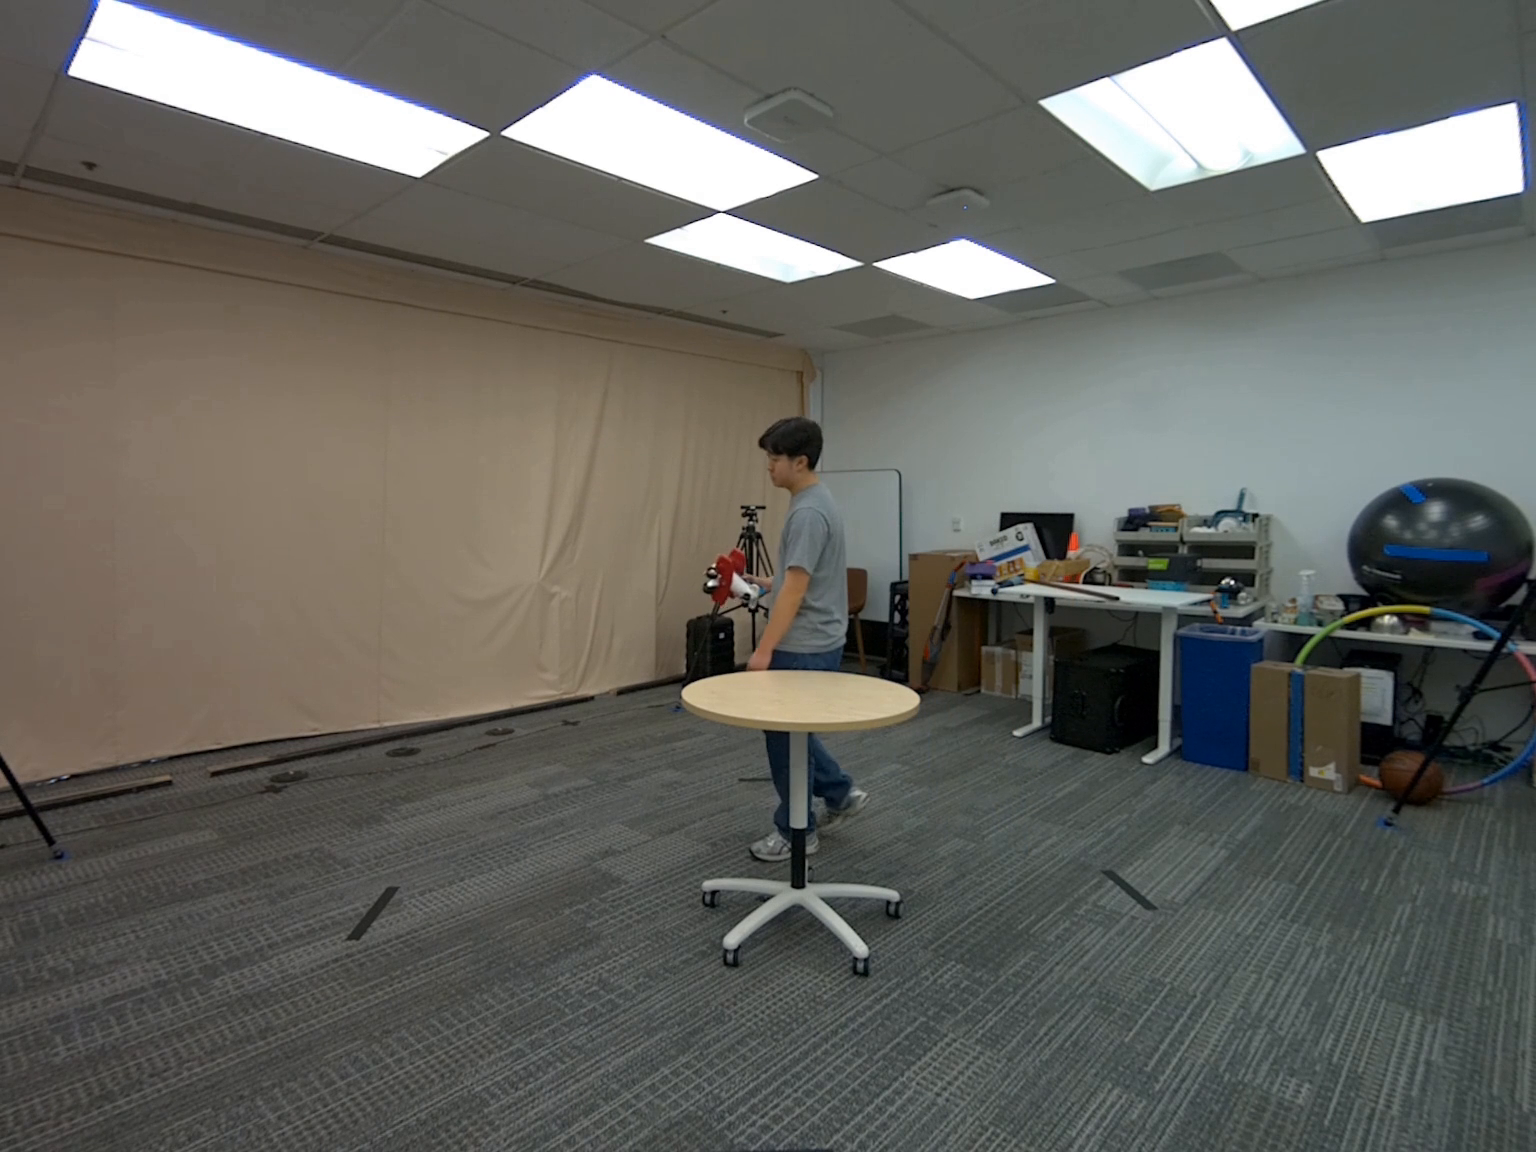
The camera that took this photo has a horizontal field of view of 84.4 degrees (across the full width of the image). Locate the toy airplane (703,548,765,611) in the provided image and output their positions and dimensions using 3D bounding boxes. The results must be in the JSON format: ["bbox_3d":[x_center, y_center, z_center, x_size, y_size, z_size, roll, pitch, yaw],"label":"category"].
[{"bbox_3d":[-0.148,0.053,3.579,0.254,0.258,0.155,-40,5,41],"label":"toy airplane"}]
